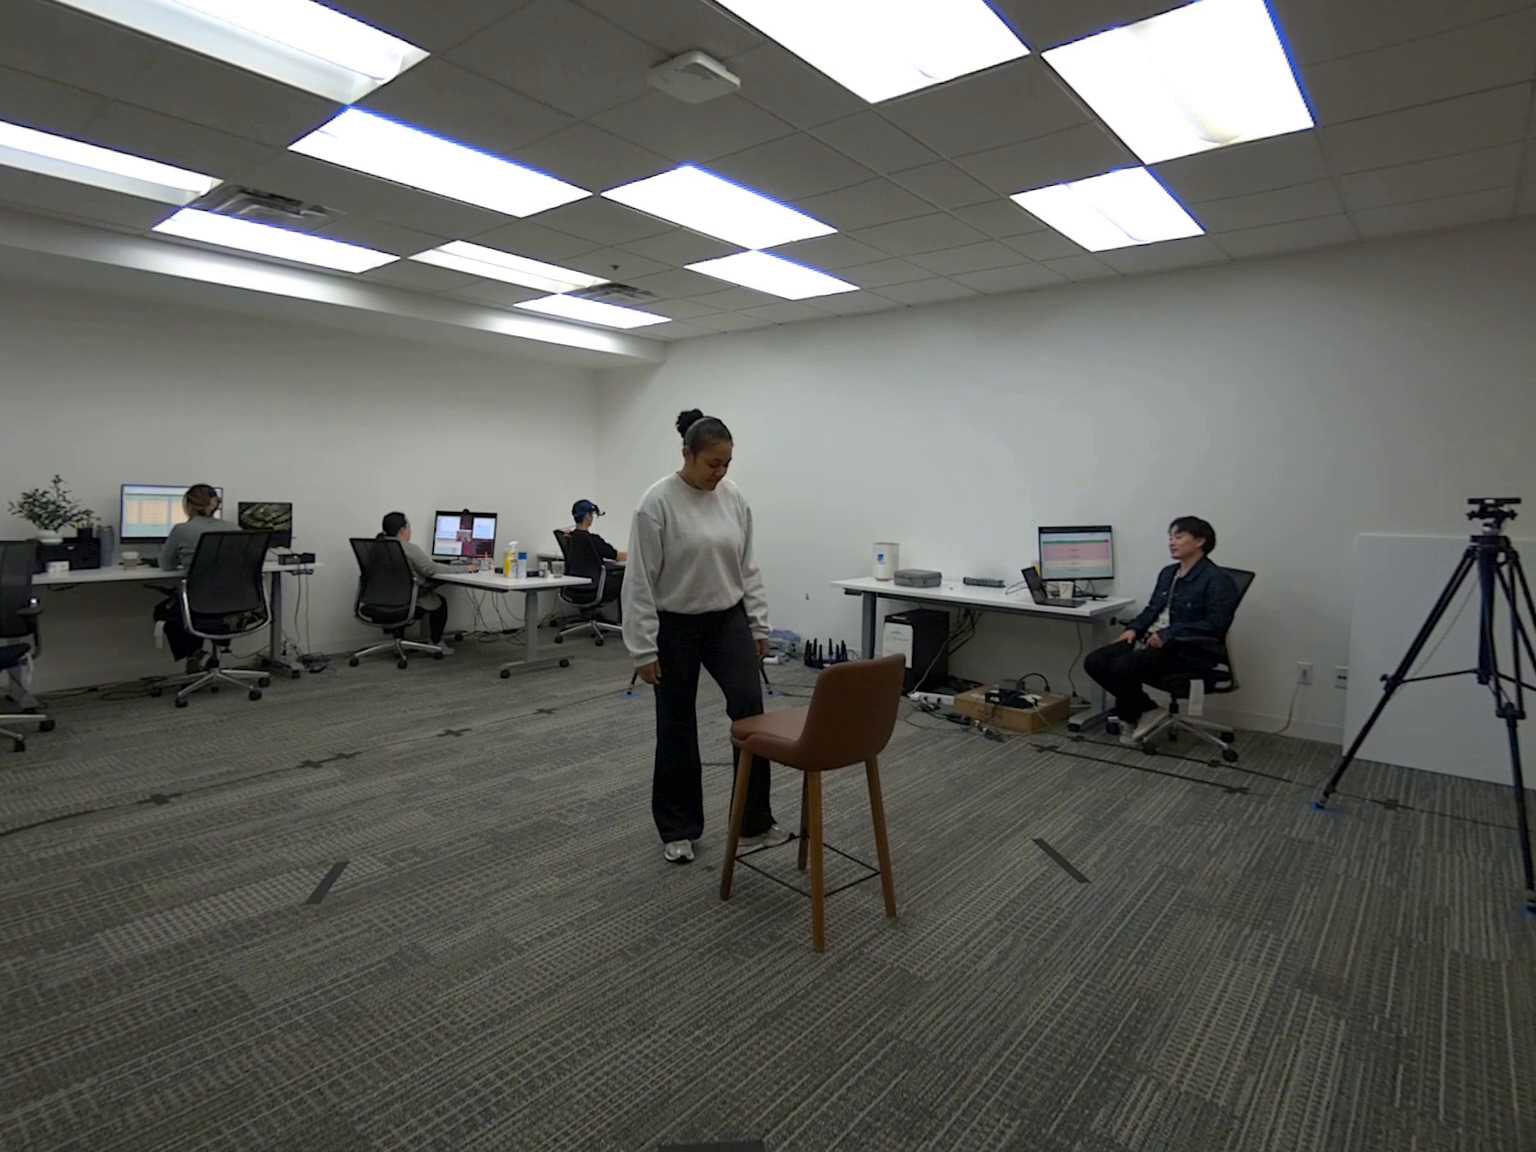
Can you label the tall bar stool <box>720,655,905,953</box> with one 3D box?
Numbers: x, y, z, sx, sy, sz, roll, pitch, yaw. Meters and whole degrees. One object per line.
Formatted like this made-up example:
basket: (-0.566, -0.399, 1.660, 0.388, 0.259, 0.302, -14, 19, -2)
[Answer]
tall bar stool: (0.148, 0.667, 2.814, 0.442, 0.886, 0.484, -1, 6, -42)
